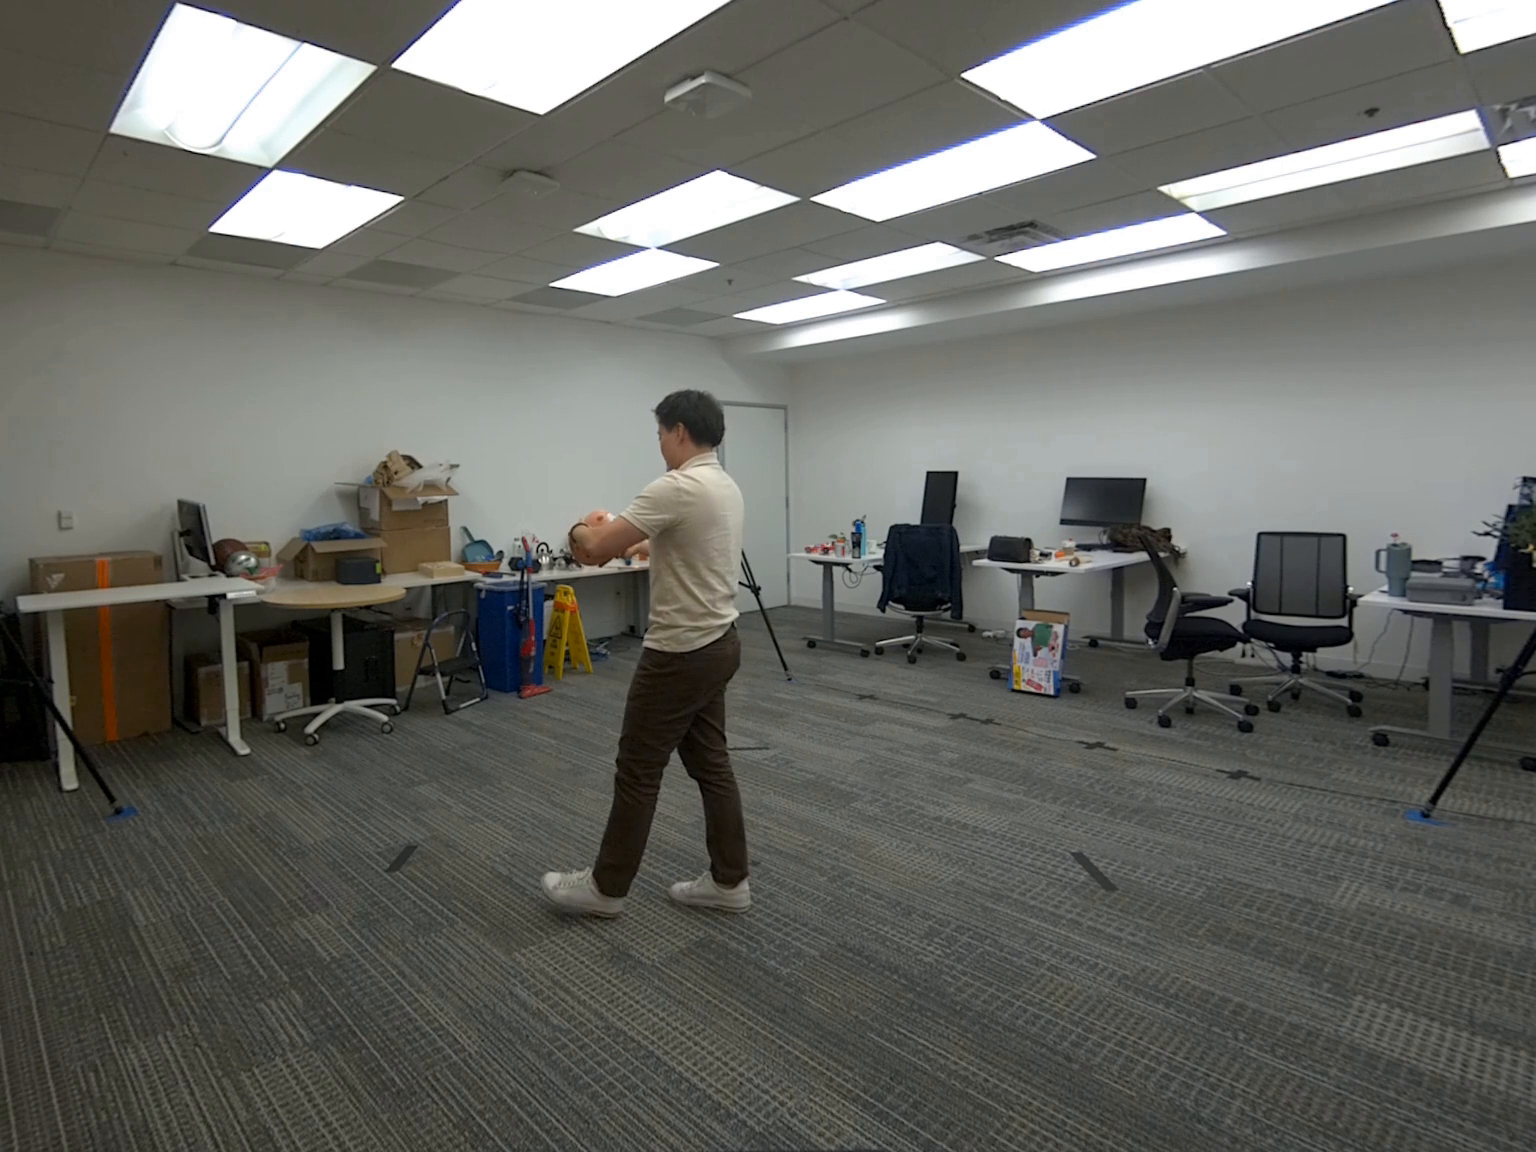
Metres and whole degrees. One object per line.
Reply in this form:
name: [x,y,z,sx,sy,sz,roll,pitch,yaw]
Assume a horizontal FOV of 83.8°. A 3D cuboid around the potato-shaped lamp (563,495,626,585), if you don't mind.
potato-shaped lamp: [-0.575,-0.126,2.936,0.160,0.198,0.177,37,15,-27]
